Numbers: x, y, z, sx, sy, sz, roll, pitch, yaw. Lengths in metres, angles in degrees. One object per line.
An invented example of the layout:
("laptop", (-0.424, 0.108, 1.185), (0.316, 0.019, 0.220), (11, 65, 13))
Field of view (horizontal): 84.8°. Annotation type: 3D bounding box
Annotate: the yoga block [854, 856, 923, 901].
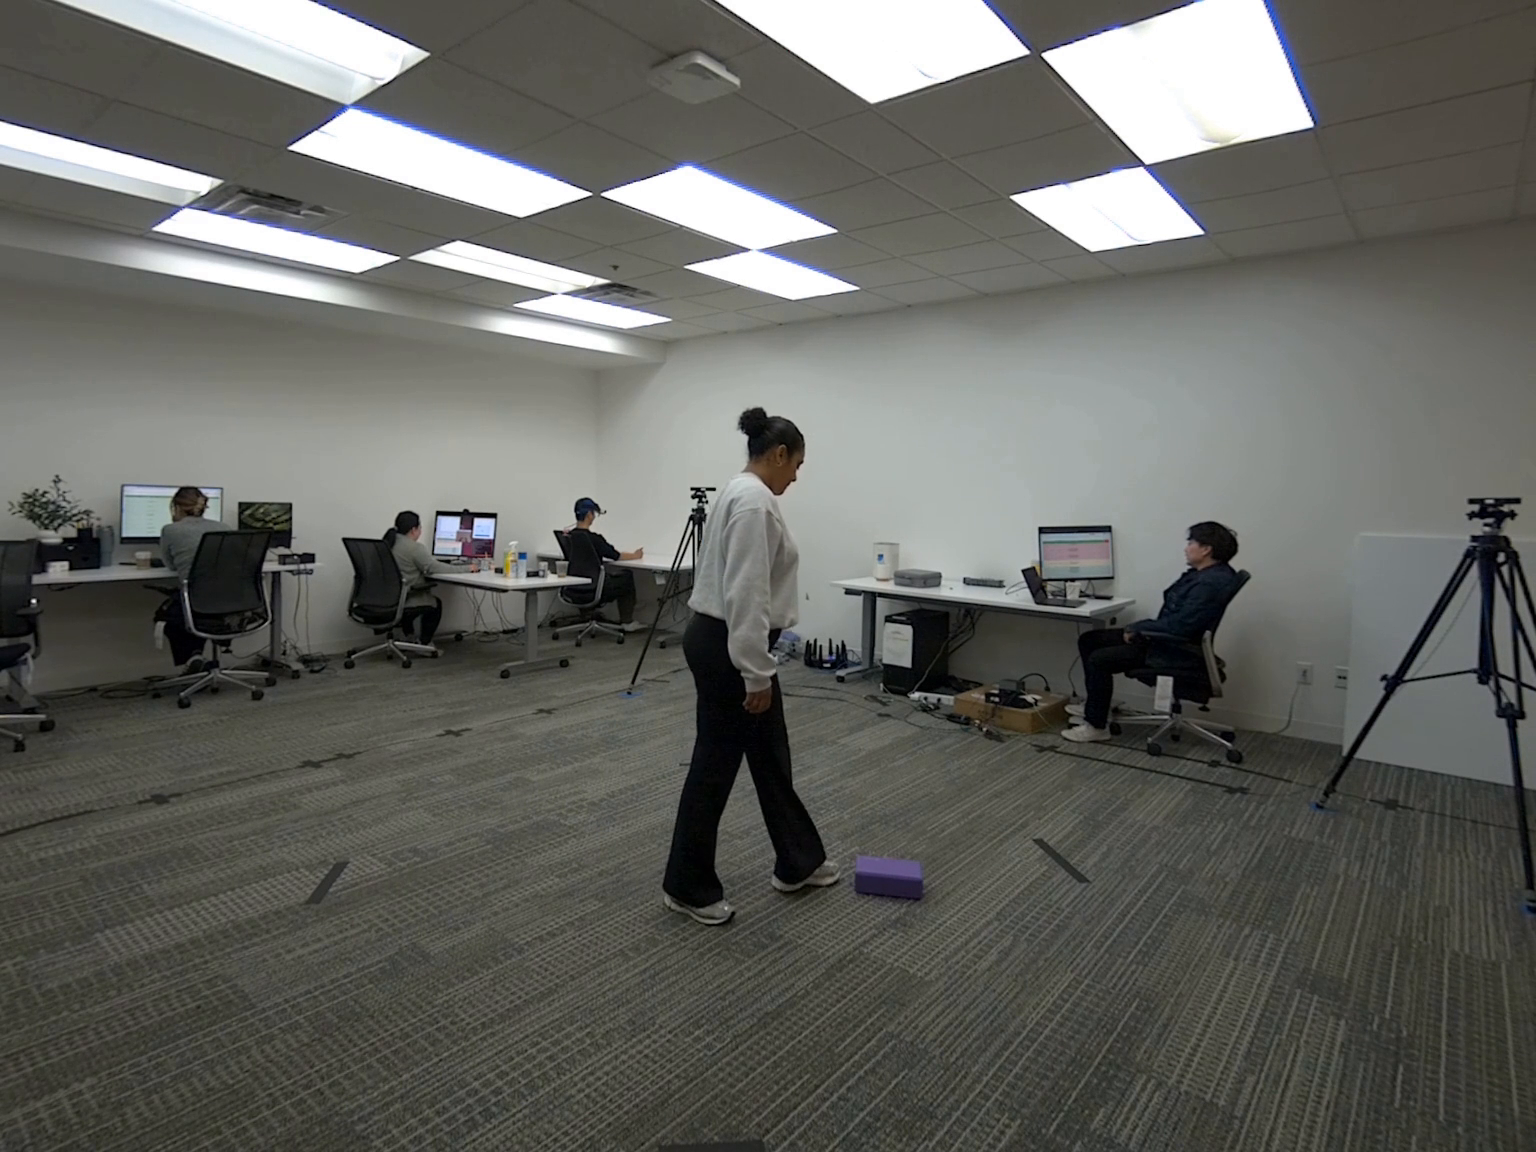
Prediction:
("yoga block", (0.411, 1.053, 2.986), (0.232, 0.076, 0.148), (2, 6, 9))
